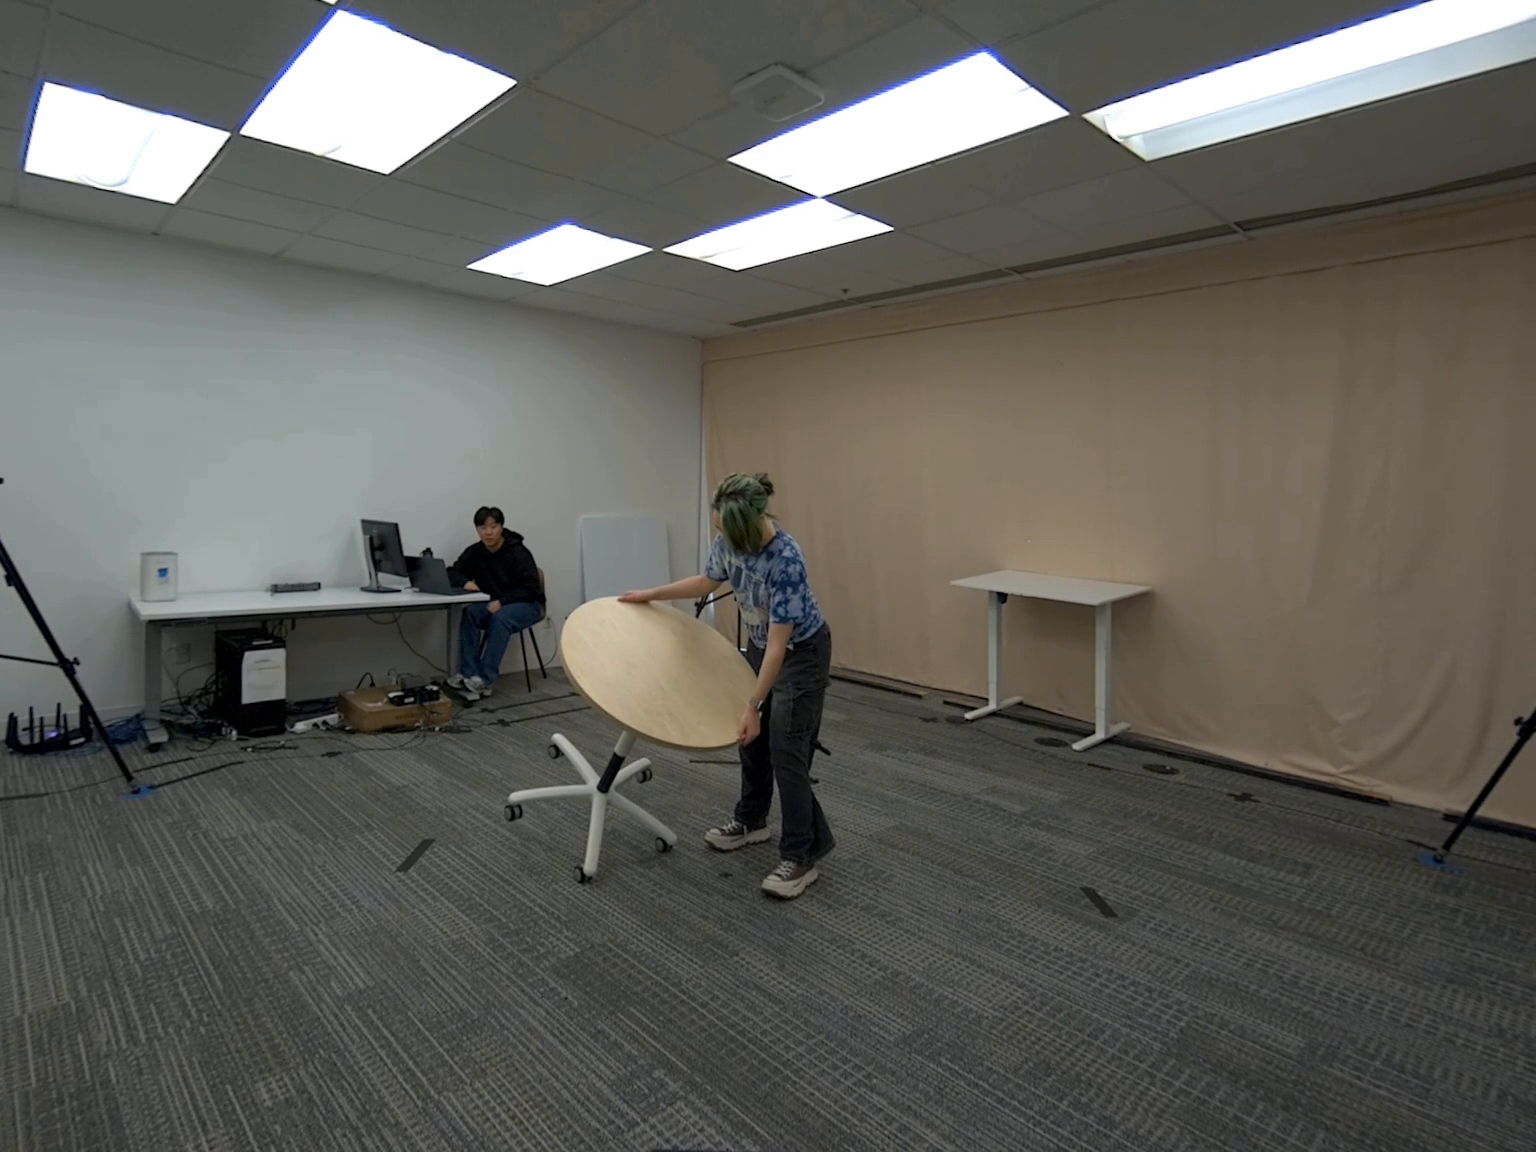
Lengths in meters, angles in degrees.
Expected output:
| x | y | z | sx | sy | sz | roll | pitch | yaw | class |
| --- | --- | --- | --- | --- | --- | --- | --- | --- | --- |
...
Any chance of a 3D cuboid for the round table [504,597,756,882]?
| x | y | z | sx | sy | sz | roll | pitch | yaw | class |
| --- | --- | --- | --- | --- | --- | --- | --- | --- | --- |
| -0.539 | 0.627 | 3.145 | 0.755 | 0.788 | 0.778 | 21 | 26 | -12 | round table |
